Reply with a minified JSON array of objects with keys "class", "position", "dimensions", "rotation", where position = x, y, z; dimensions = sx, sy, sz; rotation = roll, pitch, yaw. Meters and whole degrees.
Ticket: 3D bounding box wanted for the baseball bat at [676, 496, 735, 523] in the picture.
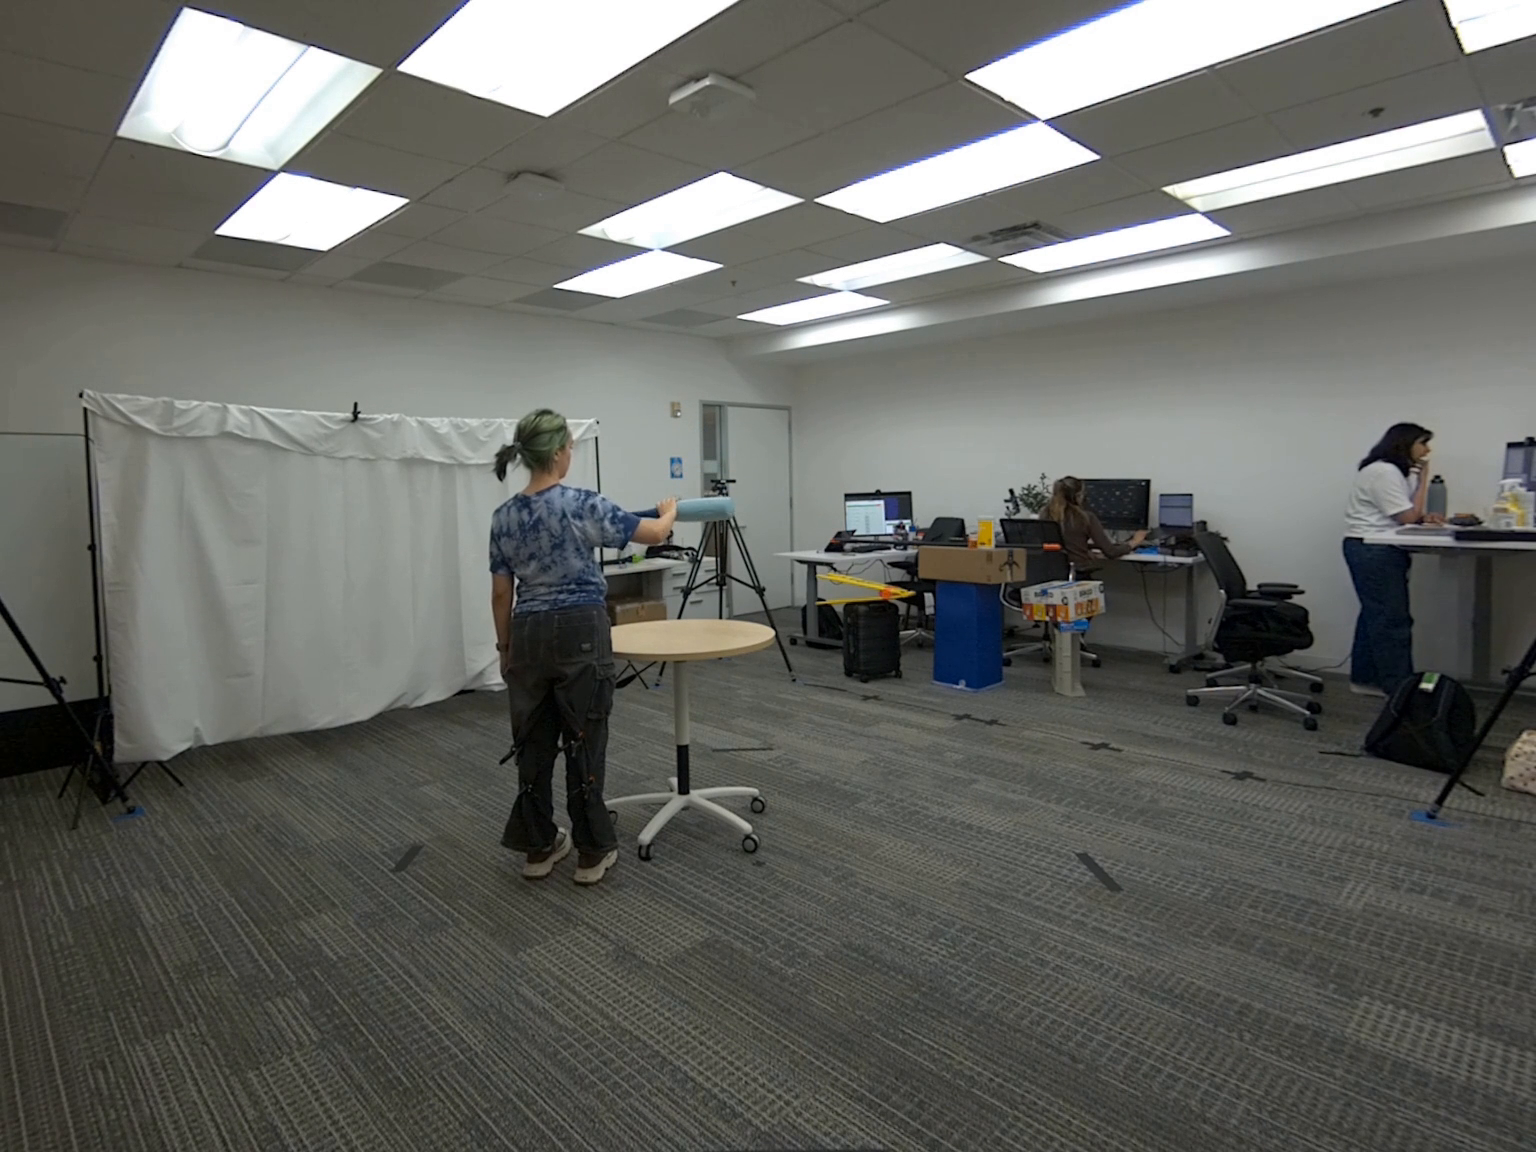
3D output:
[{"class":"baseball bat","position":[-0.392,-0.241,3.281],"dimensions":[0.553,0.089,0.087],"rotation":[-4,3,22]}]
